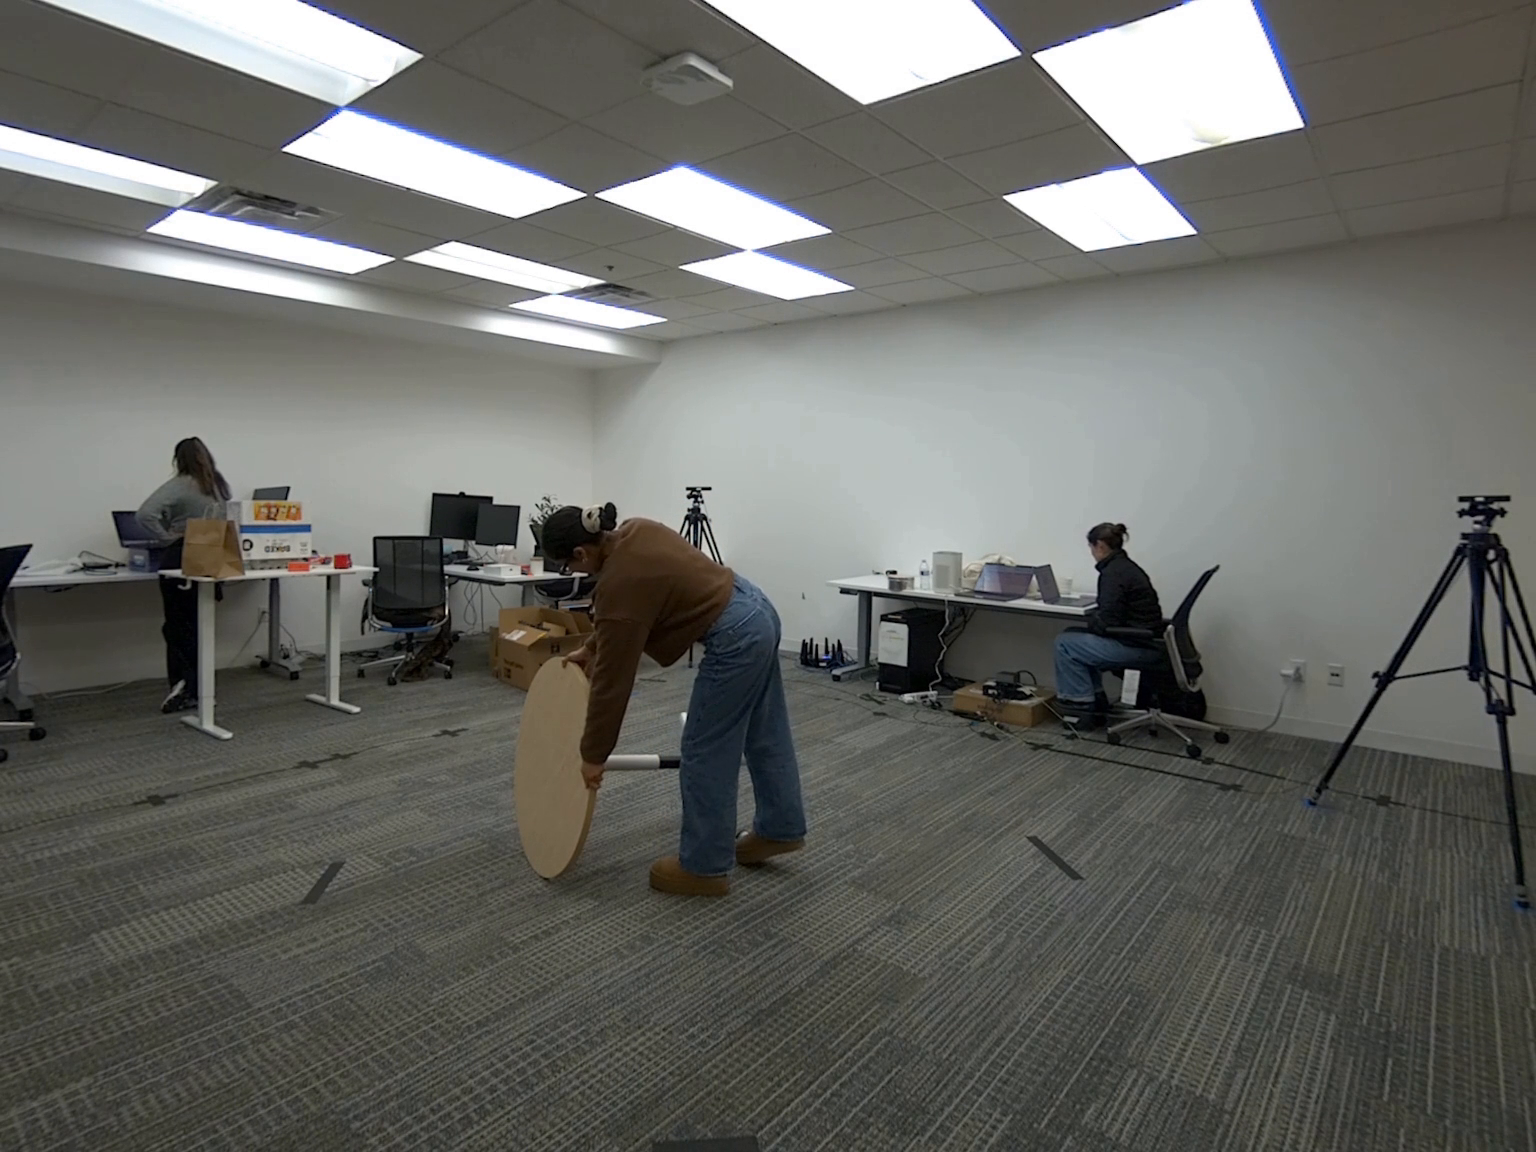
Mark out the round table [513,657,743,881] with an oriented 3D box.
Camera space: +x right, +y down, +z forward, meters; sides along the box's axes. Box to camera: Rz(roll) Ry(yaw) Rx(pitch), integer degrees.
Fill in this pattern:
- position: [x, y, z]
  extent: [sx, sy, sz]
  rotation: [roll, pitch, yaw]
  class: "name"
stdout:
- position: [-0.484, 0.714, 3.275]
  extent: [0.769, 0.764, 0.788]
  rotation: [7, 0, -32]
  class: "round table"
